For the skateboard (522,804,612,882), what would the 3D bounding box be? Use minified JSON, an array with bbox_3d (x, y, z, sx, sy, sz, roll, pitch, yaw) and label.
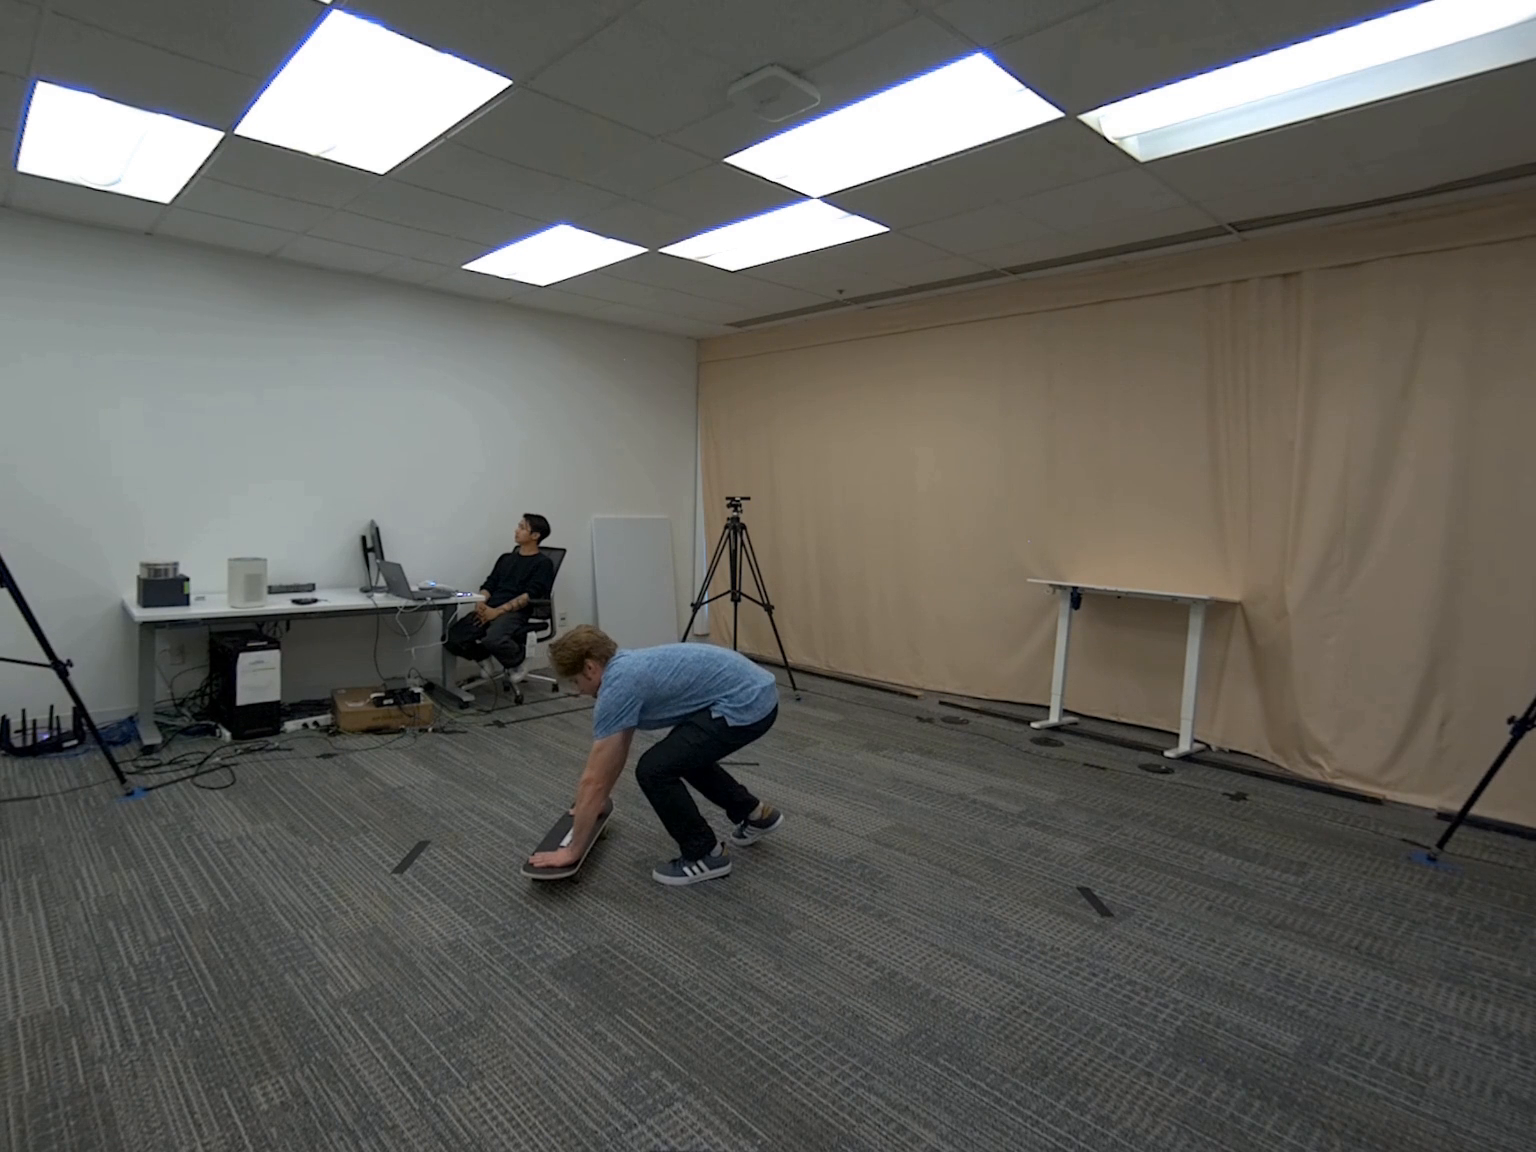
[{"bbox_3d":[-0.747,1.015,3.233,0.194,0.110,0.785,-1,5,3],"label":"skateboard"}]
